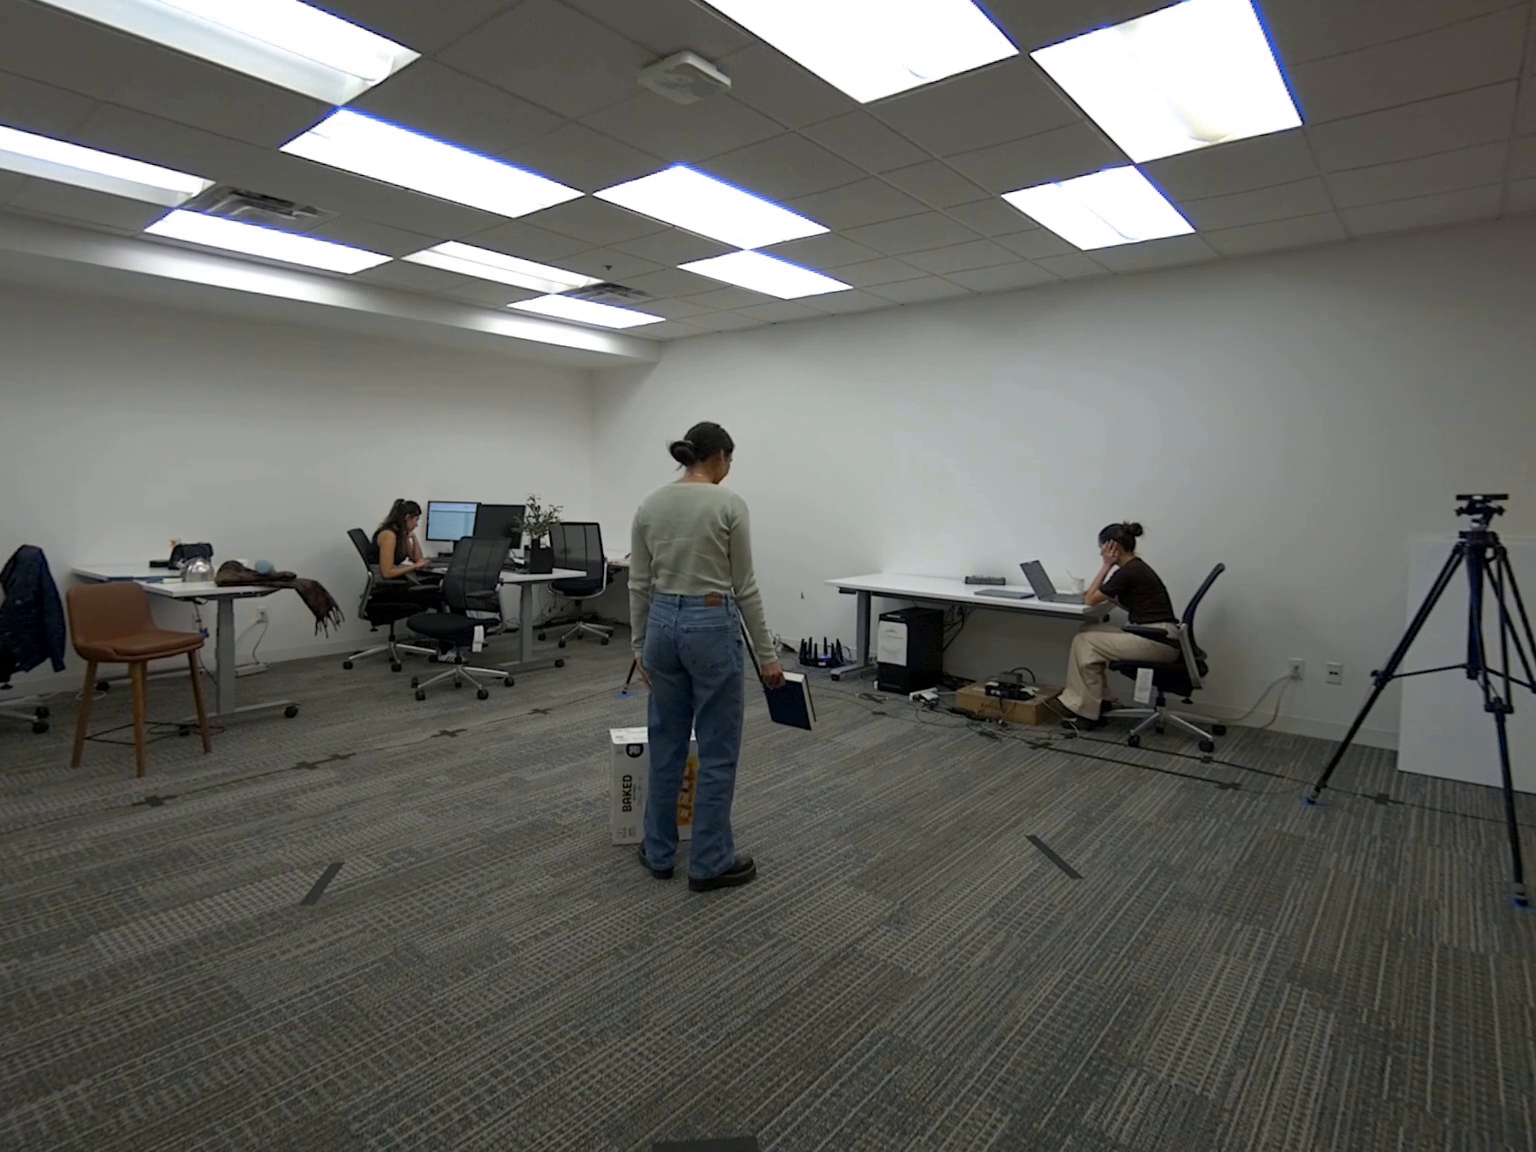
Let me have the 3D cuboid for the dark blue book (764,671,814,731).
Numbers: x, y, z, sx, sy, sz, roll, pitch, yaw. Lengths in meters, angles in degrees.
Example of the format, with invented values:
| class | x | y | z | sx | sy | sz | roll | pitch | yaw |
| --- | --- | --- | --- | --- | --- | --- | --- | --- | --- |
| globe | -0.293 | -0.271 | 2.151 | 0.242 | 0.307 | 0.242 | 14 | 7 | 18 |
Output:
| class | x | y | z | sx | sy | sz | roll | pitch | yaw |
| --- | --- | --- | --- | --- | --- | --- | --- | --- | --- |
| dark blue book | 0.064 | 0.439 | 3.054 | 0.168 | 0.237 | 0.045 | 8 | 38 | 27 |
